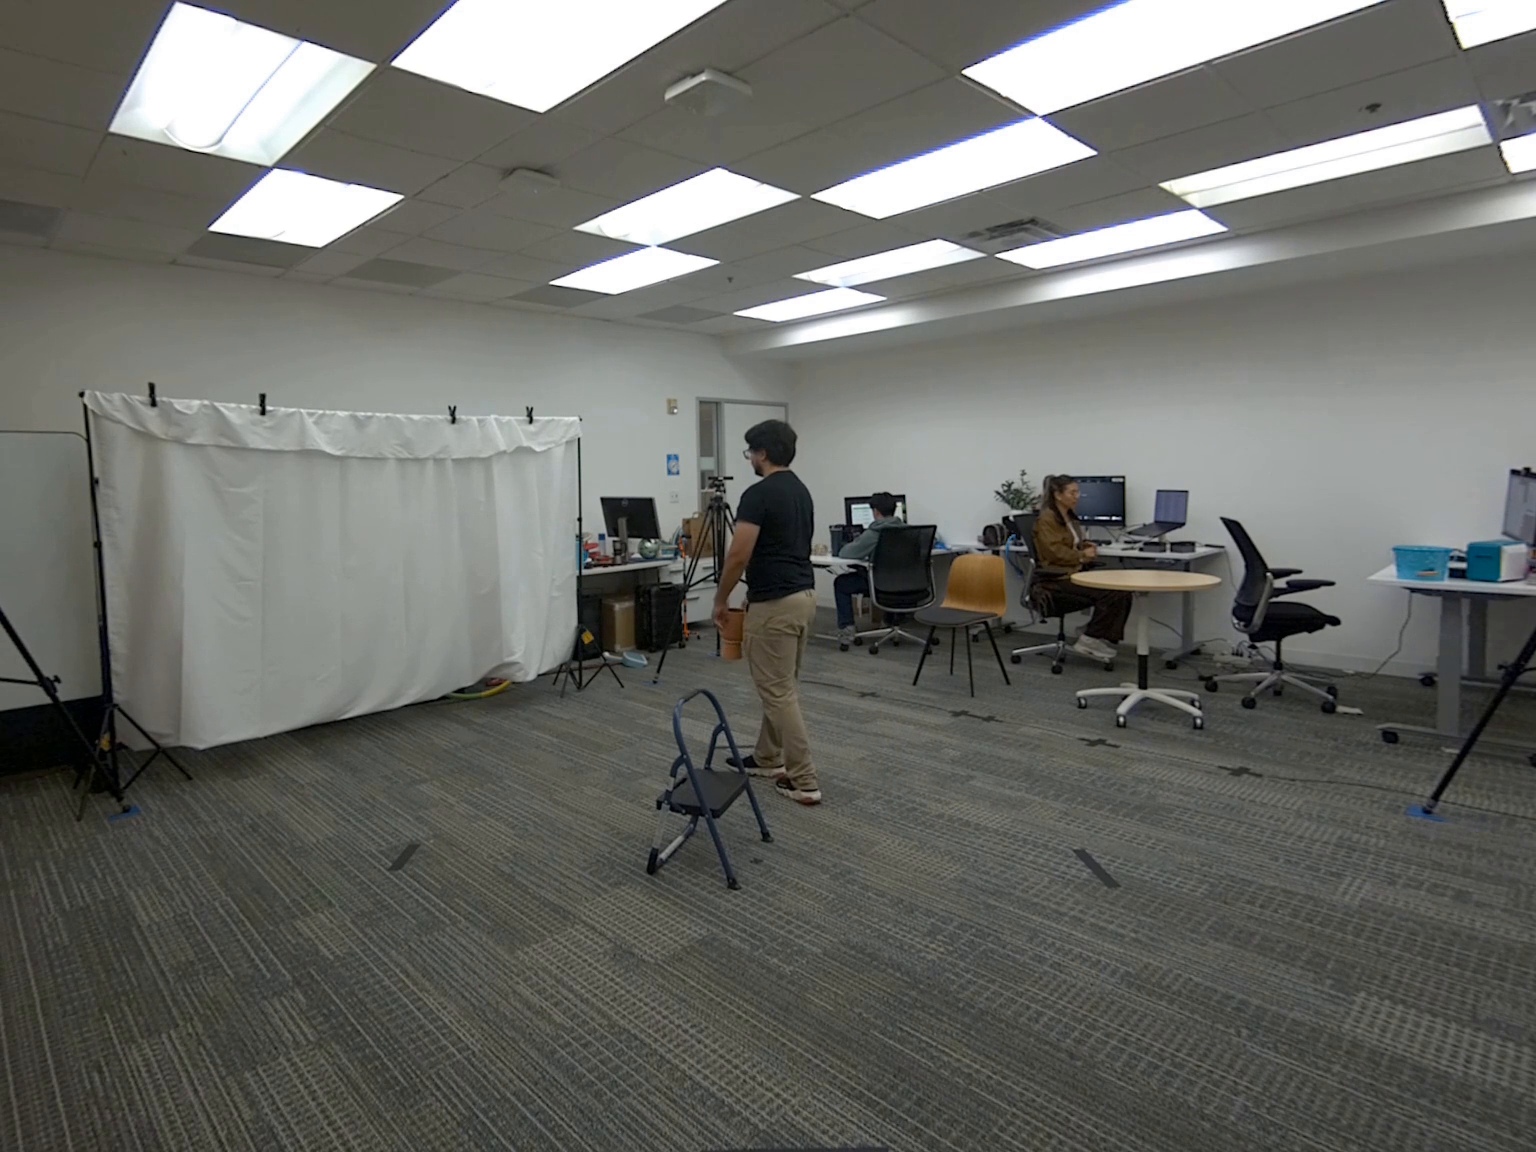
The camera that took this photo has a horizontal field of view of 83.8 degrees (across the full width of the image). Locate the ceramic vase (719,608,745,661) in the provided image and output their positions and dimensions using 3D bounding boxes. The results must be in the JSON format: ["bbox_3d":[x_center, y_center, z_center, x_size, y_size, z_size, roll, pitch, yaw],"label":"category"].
[{"bbox_3d":[-0.156,0.263,3.928,0.156,0.219,0.137,2,5,-19],"label":"ceramic vase"}]
